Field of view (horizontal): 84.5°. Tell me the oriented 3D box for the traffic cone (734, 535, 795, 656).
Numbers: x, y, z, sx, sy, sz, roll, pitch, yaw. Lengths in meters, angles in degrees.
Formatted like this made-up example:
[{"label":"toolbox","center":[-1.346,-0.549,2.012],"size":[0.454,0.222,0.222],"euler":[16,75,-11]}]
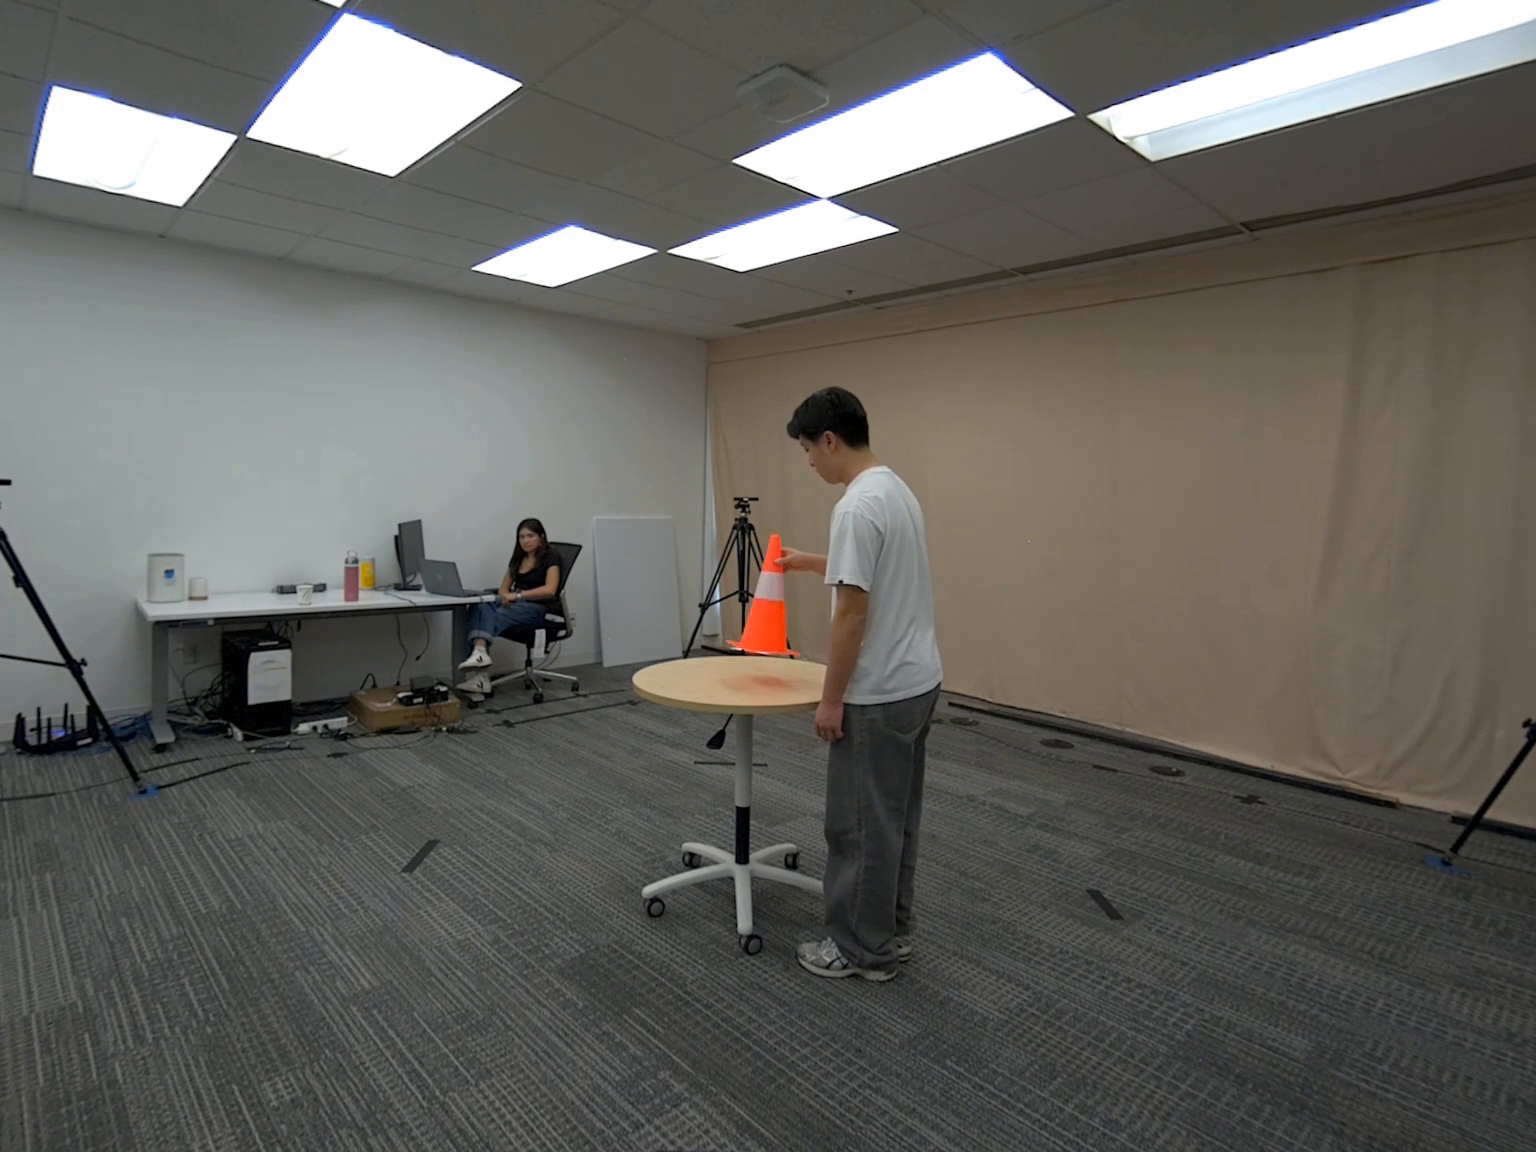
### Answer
[{"label":"traffic cone","center":[0.010,0.071,2.801],"size":[0.207,0.384,0.201],"euler":[8,0,19]}]
